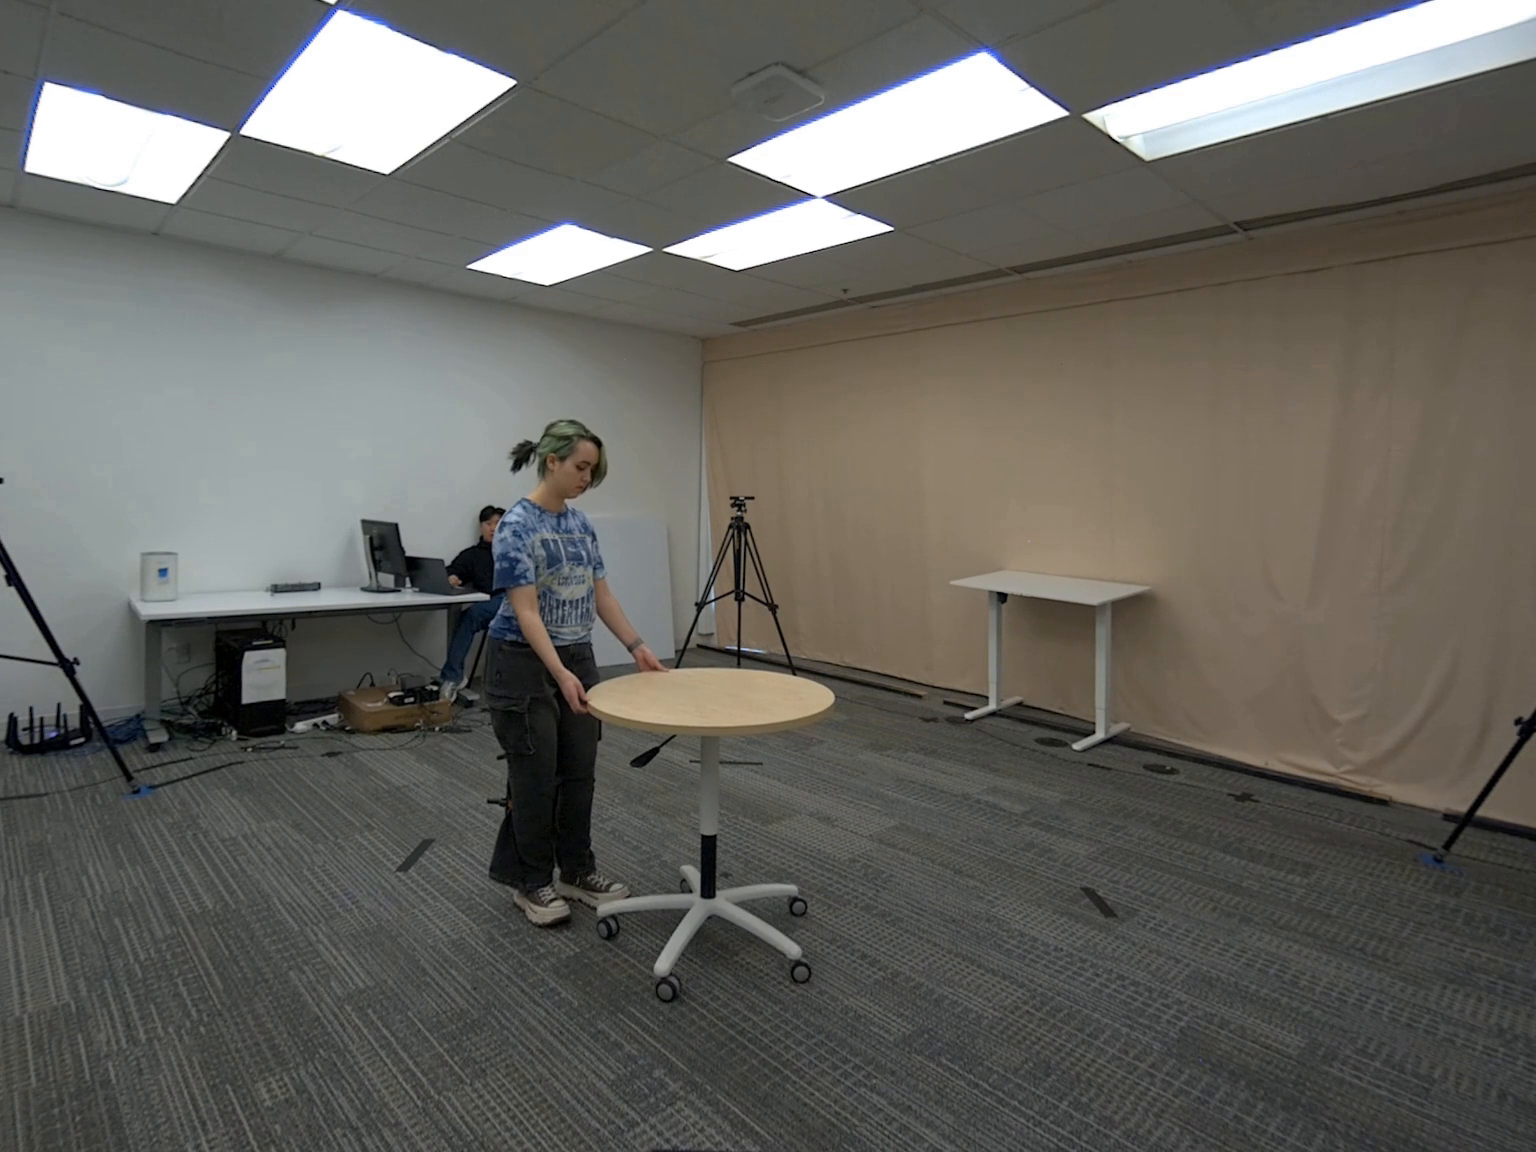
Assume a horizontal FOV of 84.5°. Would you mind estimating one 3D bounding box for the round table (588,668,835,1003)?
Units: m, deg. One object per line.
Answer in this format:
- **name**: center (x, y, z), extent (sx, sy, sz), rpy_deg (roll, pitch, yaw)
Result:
- **round table**: center (-0.179, 0.757, 2.626), extent (0.763, 0.792, 0.766), rpy_deg (1, 4, -1)
